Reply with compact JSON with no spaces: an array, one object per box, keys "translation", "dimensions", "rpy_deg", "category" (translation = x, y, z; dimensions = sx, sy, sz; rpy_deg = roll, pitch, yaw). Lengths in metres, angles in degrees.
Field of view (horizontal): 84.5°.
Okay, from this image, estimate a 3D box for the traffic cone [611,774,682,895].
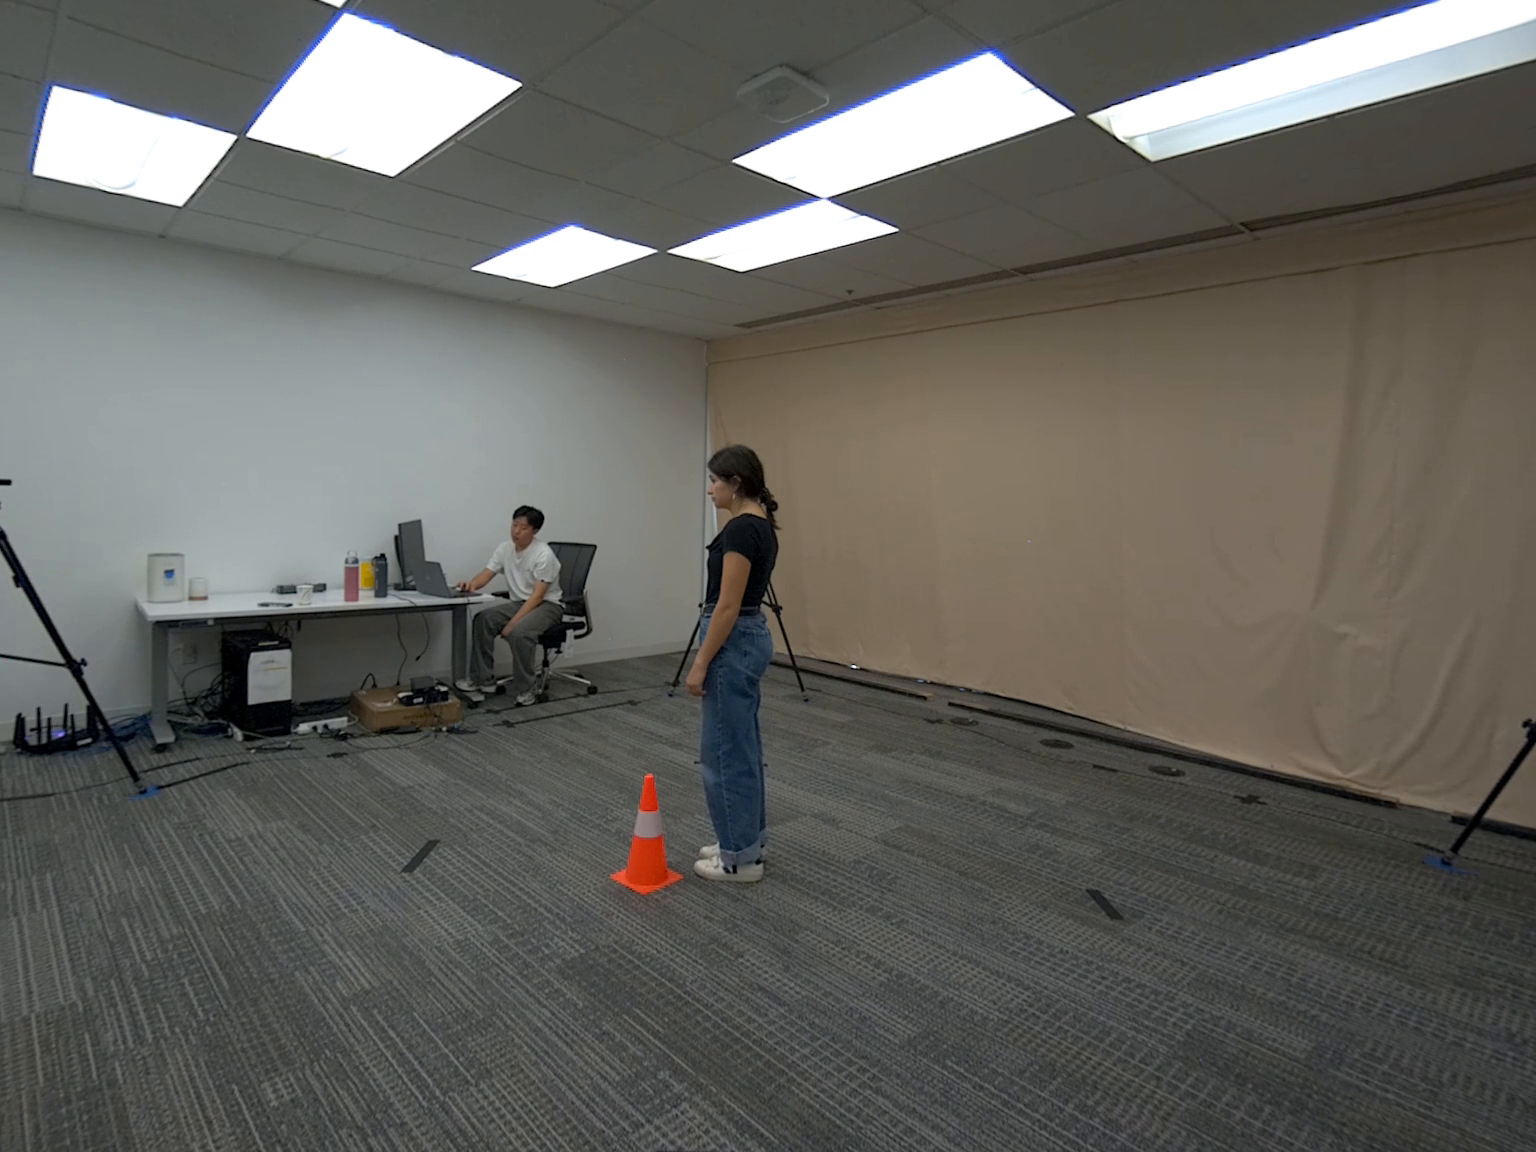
[{"translation":[-0.434,0.918,3.061],"dimensions":[0.210,0.382,0.199],"rpy_deg":[7,7,43],"category":"traffic cone"}]
